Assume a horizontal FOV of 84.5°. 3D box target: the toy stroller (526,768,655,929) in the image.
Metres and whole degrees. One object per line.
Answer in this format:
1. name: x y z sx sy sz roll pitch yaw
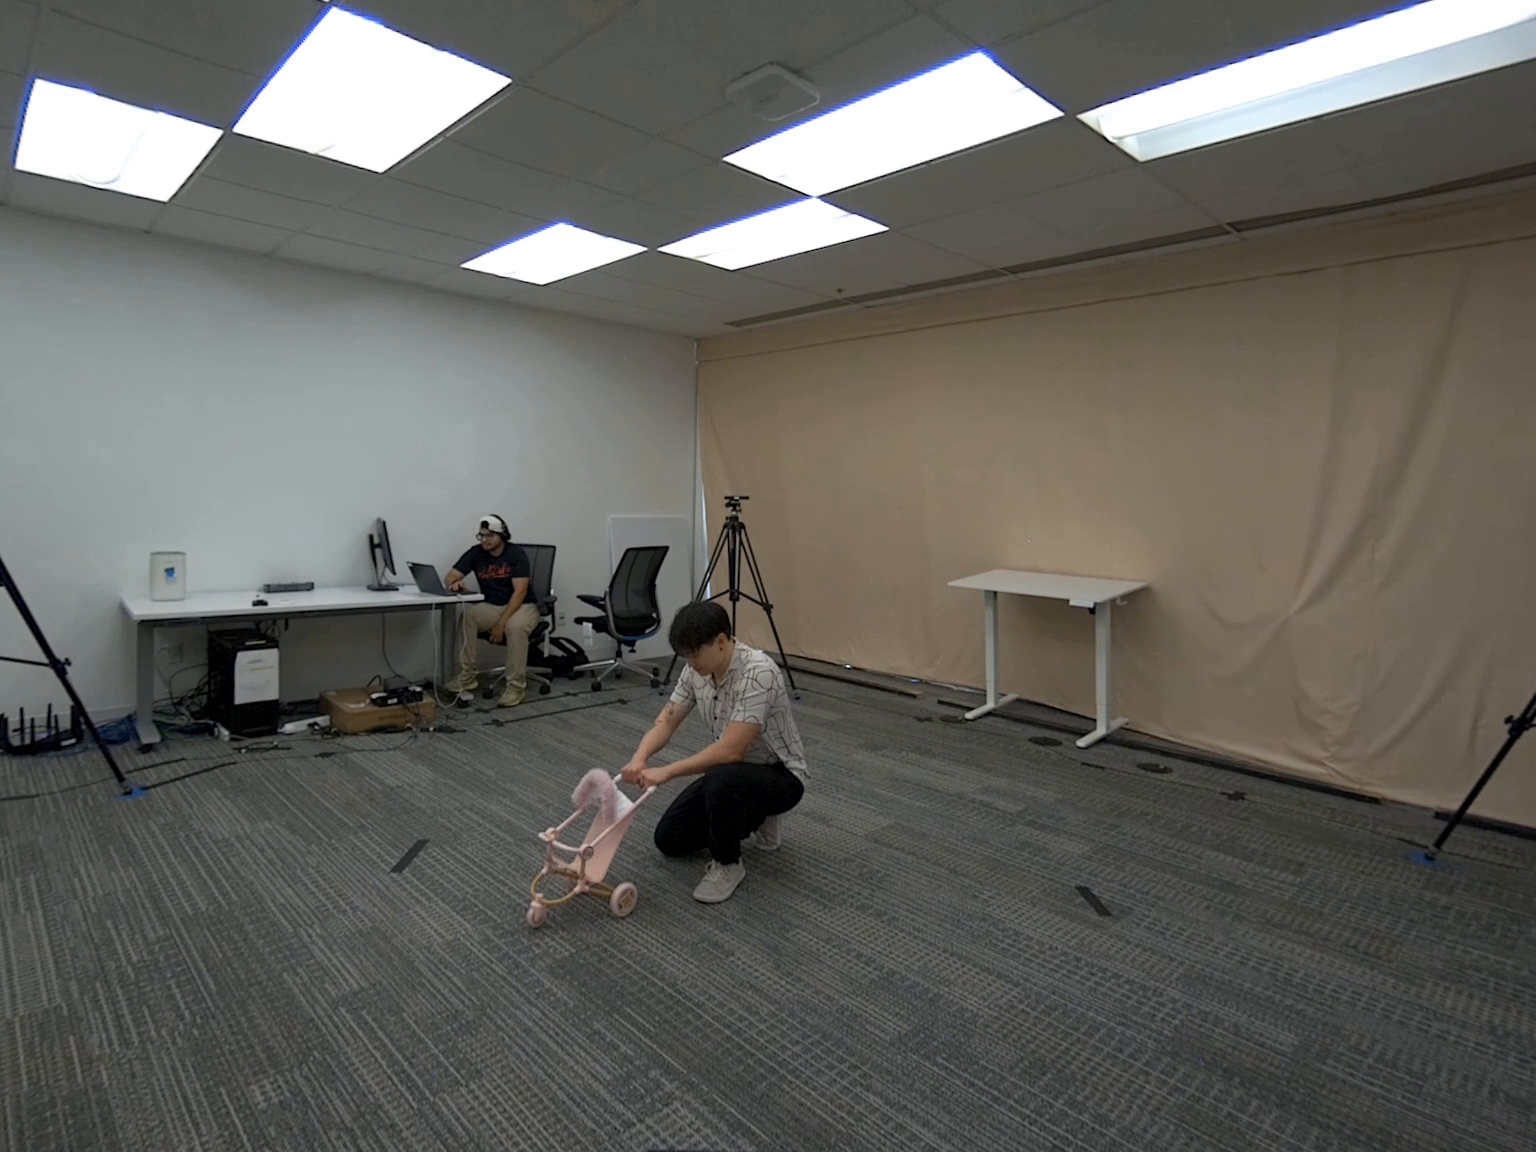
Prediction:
1. toy stroller: -0.606 0.896 2.823 0.331 0.538 0.288 25 -15 -41
